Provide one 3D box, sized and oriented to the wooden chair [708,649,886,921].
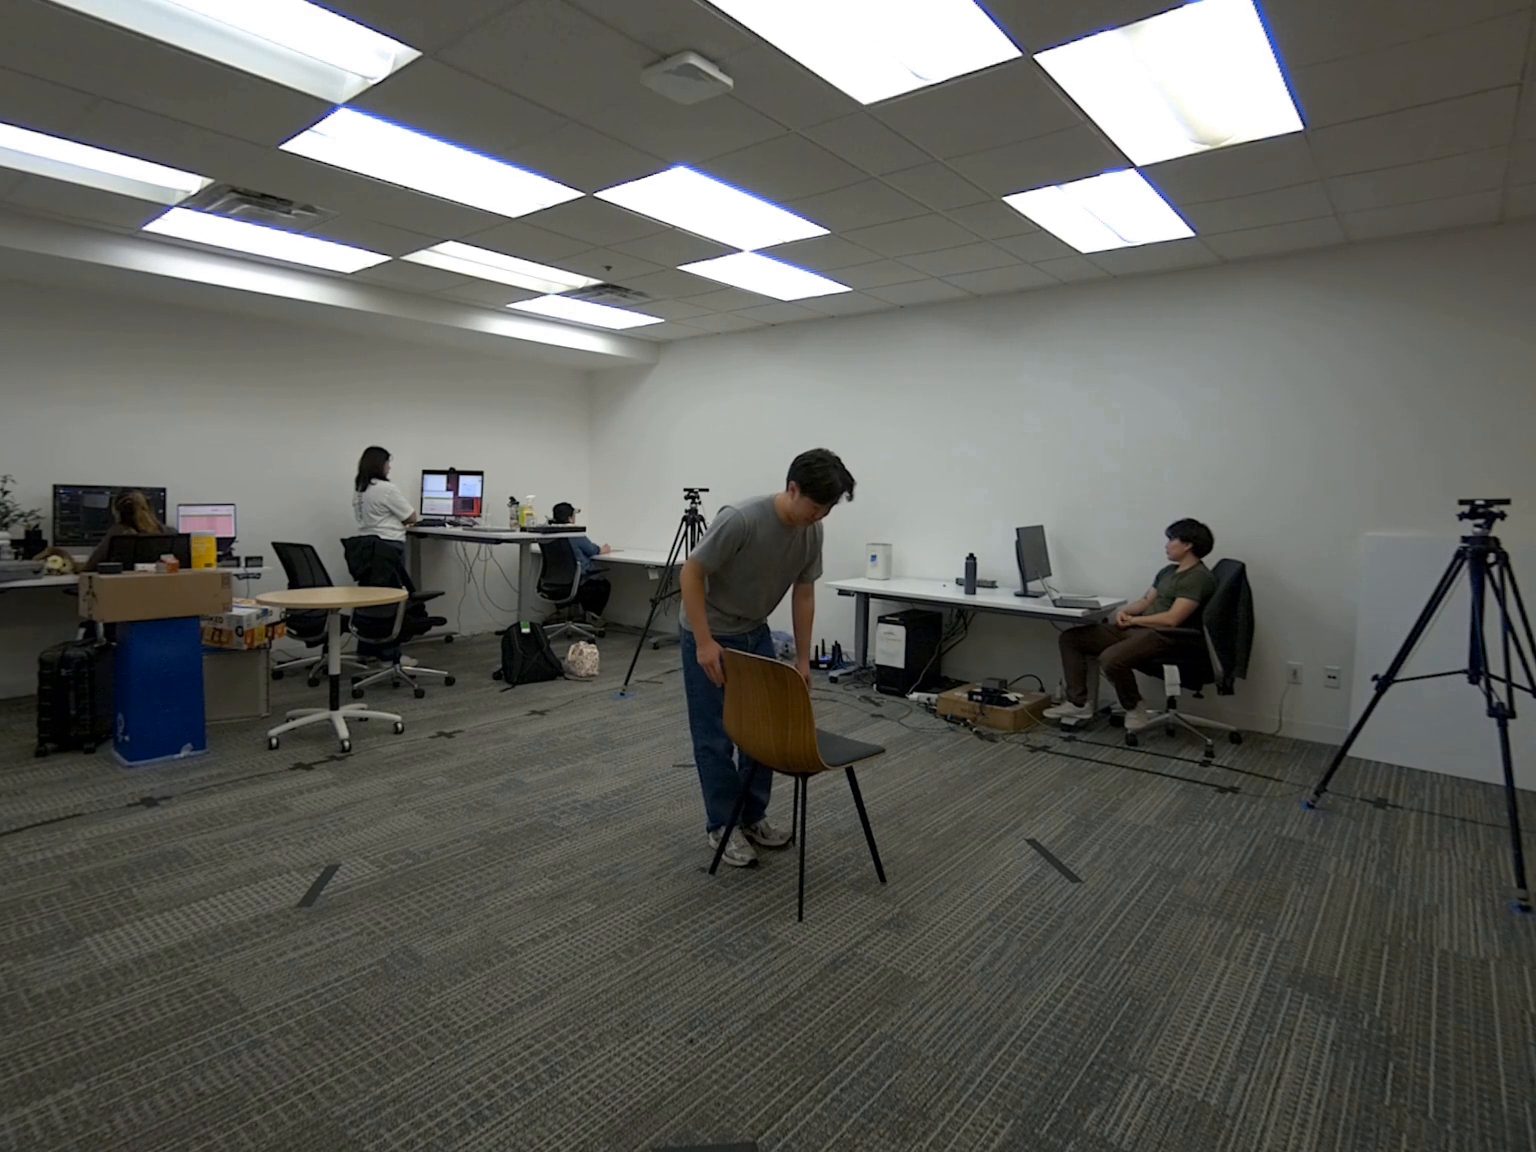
[{"bbox_3d":[0.112,0.655,3.030,0.509,0.872,0.494,-7,8,-43],"label":"wooden chair"}]
